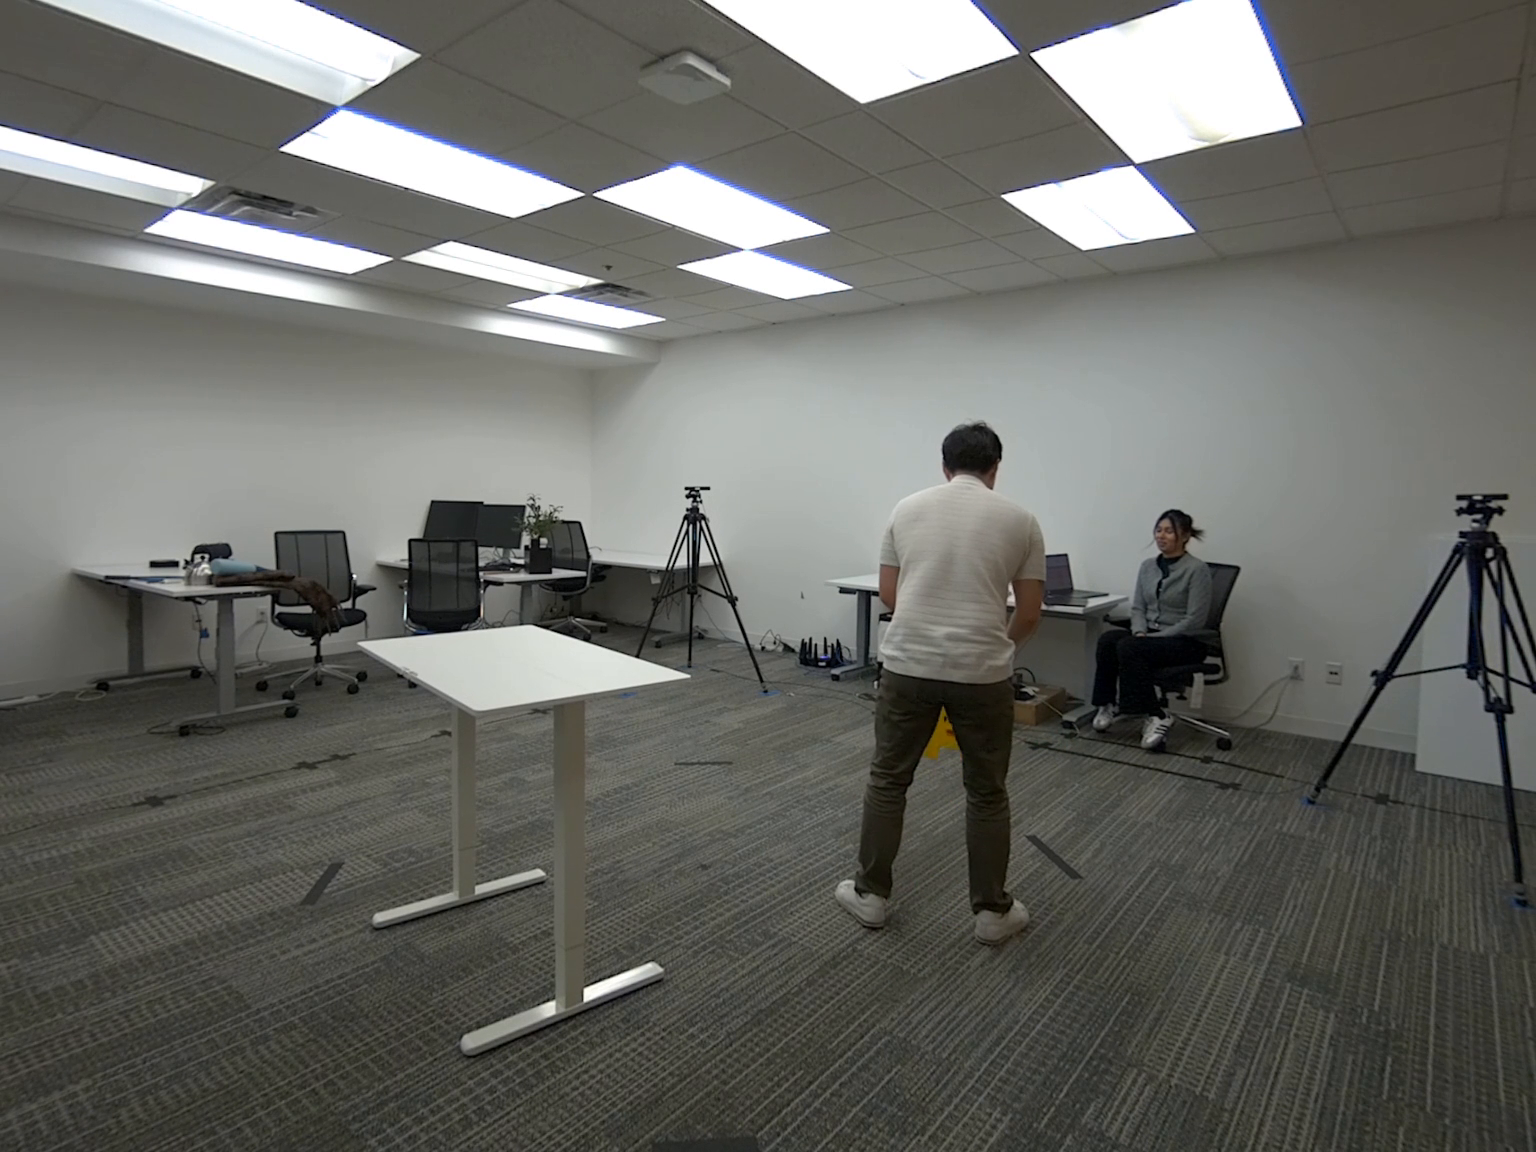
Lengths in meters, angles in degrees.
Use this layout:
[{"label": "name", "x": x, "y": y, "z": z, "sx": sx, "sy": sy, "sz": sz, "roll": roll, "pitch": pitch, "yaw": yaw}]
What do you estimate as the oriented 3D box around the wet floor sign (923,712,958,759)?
[{"label": "wet floor sign", "x": 0.689, "y": 0.381, "z": 3.107, "sx": 0.289, "sy": 0.624, "sz": 0.292, "roll": 10, "pitch": 47, "yaw": 21}]
